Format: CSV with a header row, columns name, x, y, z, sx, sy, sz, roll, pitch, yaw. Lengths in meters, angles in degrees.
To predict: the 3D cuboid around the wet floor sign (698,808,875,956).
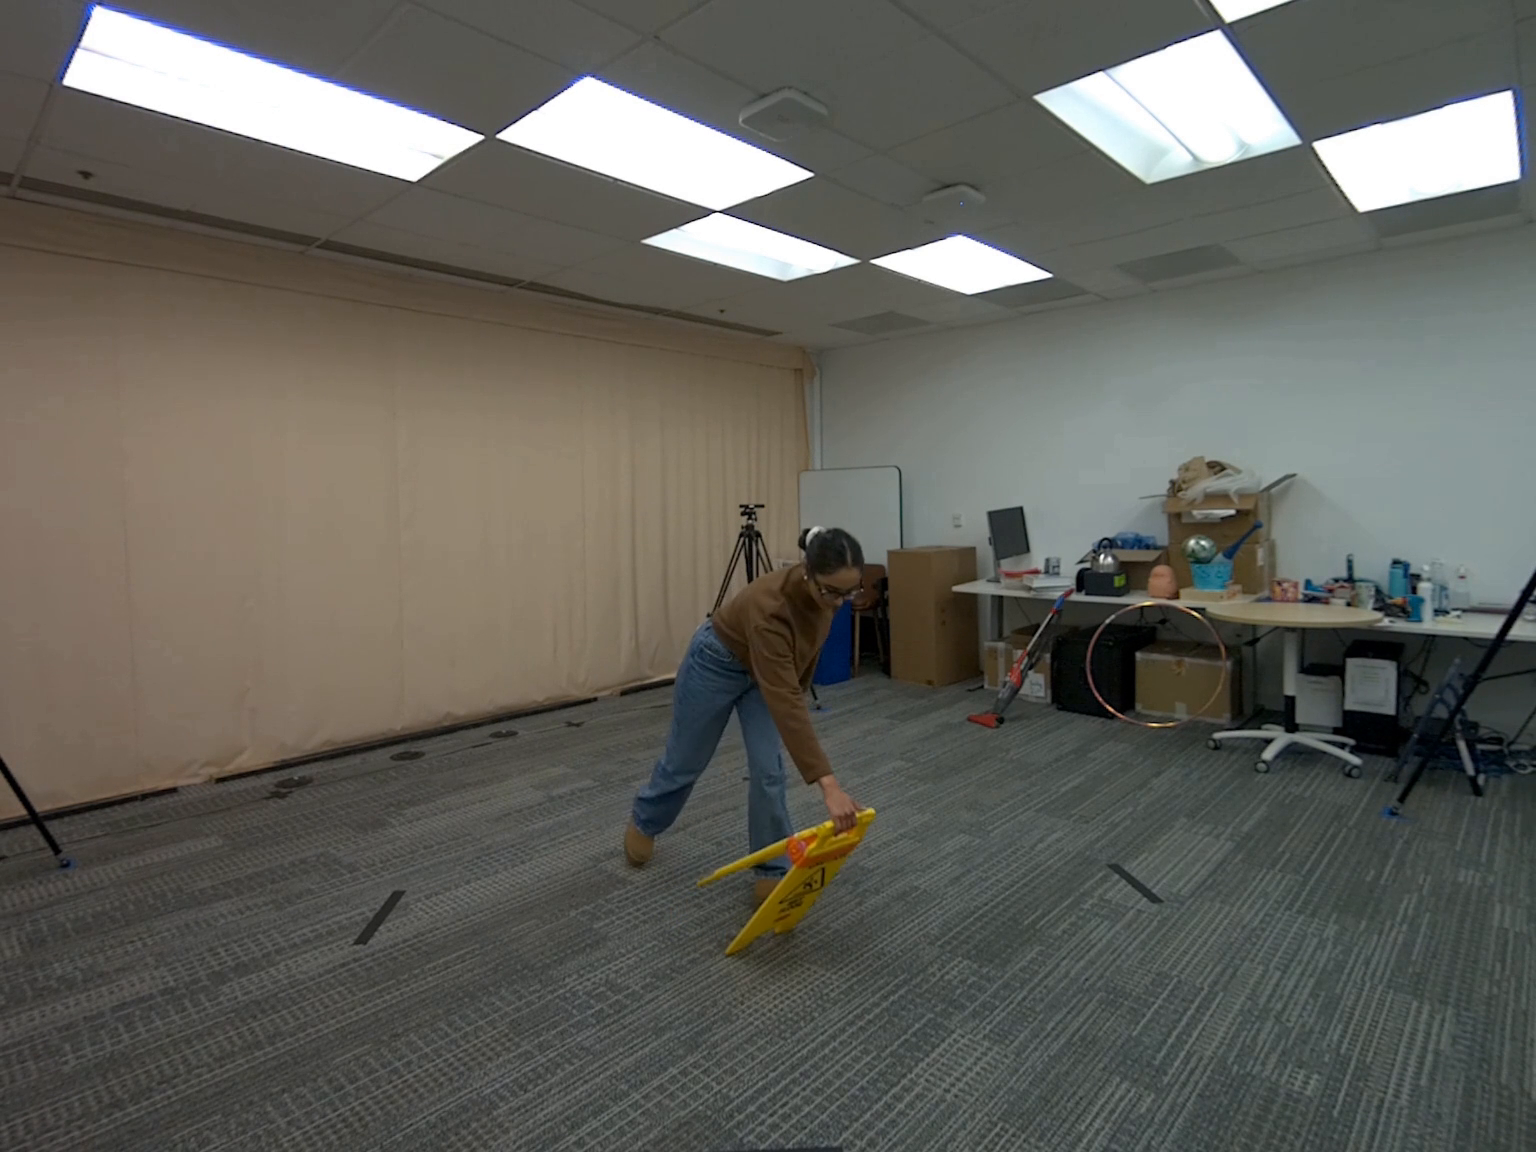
name,x,y,z,sx,sy,sz,roll,pitch,yaw
wet floor sign,0.068,0.873,2.540,0.274,0.298,0.648,-4,-38,-40
